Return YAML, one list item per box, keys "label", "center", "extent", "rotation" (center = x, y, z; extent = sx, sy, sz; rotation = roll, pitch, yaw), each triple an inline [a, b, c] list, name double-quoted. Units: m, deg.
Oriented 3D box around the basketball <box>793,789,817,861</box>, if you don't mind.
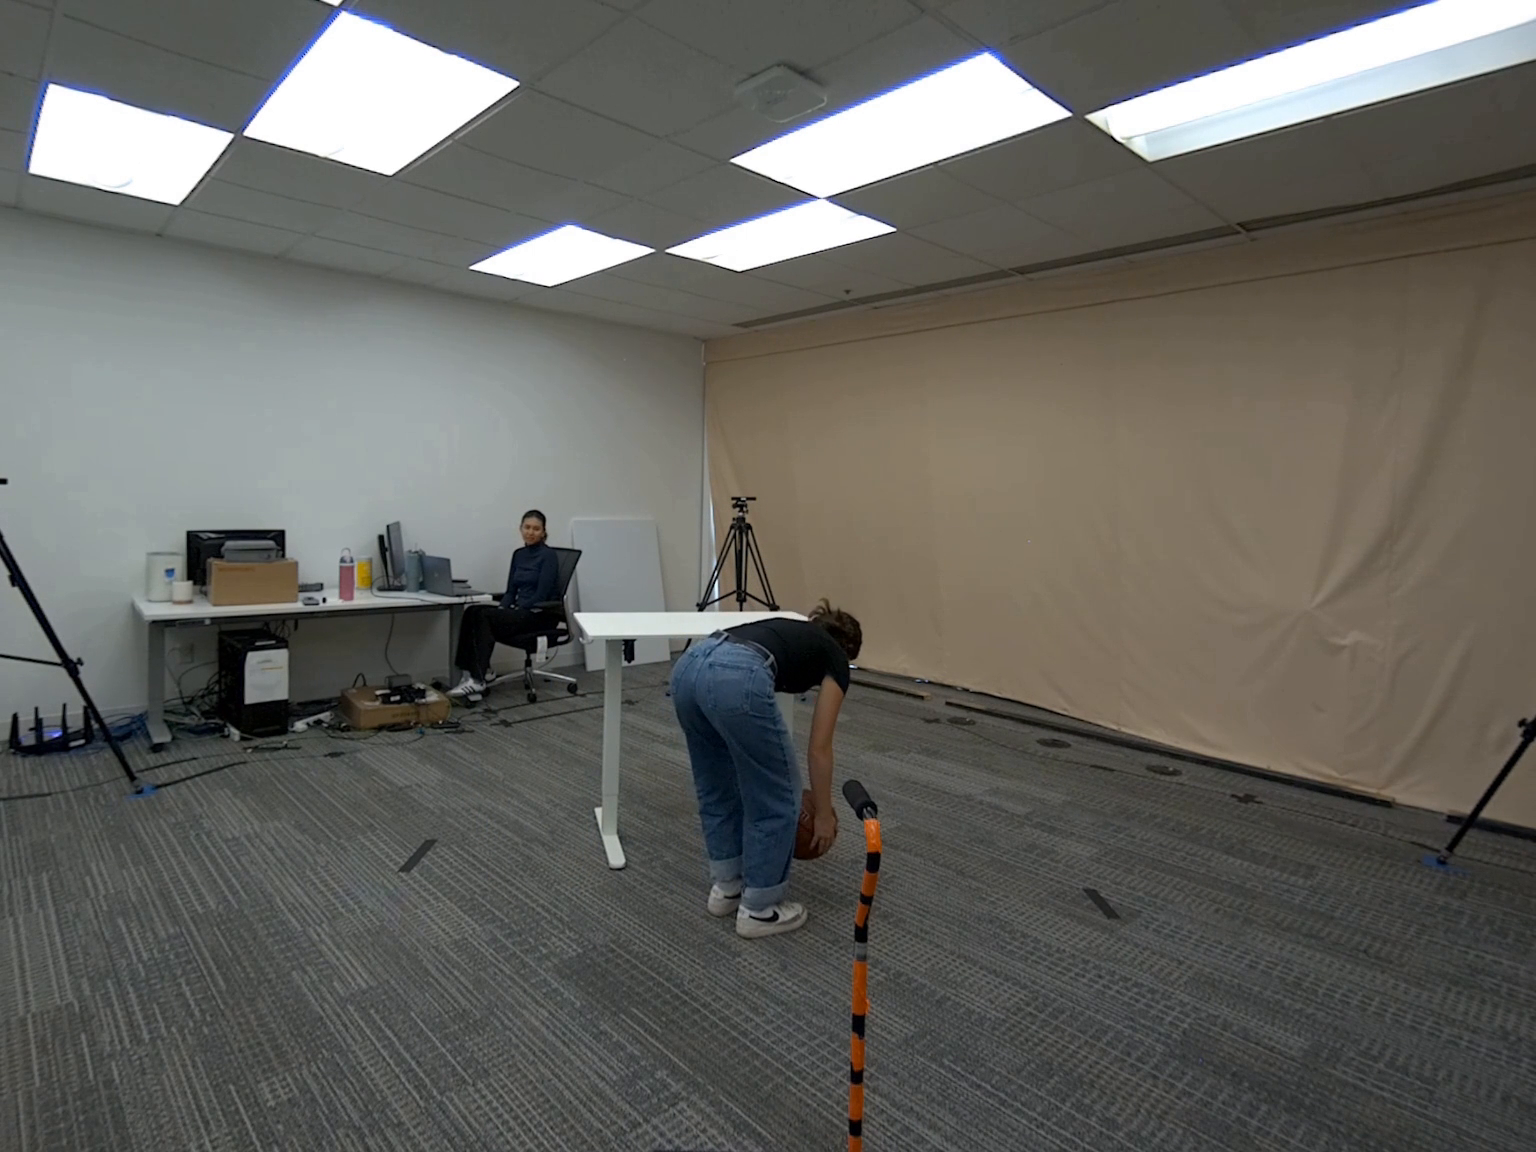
- label: "basketball"
  center: [0.121, 0.883, 2.960]
  extent: [0.236, 0.235, 0.237]
  rotation: [1, 4, -1]
